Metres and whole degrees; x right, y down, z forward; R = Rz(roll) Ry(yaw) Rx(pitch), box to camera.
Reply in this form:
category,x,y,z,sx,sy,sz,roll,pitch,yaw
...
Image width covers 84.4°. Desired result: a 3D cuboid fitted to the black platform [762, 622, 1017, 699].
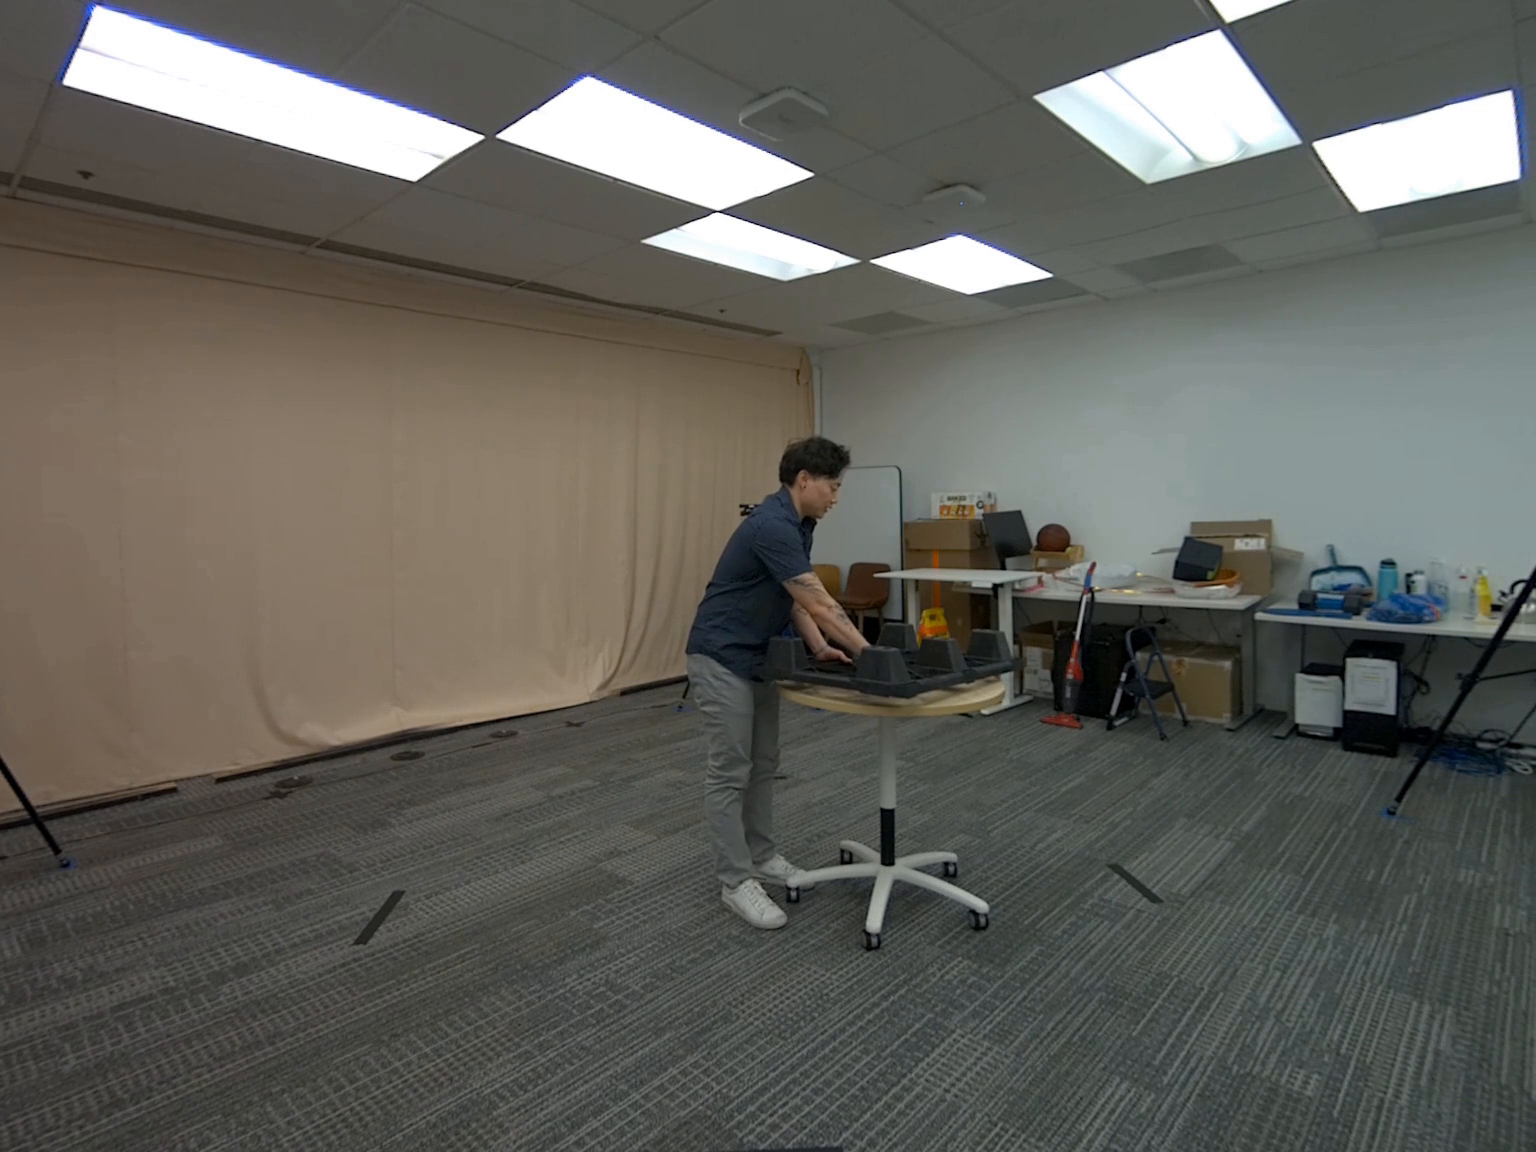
category,x,y,z,sx,sy,sz,roll,pitch,yaw
black platform,0.428,0.274,2.882,0.625,0.143,0.780,1,3,42
